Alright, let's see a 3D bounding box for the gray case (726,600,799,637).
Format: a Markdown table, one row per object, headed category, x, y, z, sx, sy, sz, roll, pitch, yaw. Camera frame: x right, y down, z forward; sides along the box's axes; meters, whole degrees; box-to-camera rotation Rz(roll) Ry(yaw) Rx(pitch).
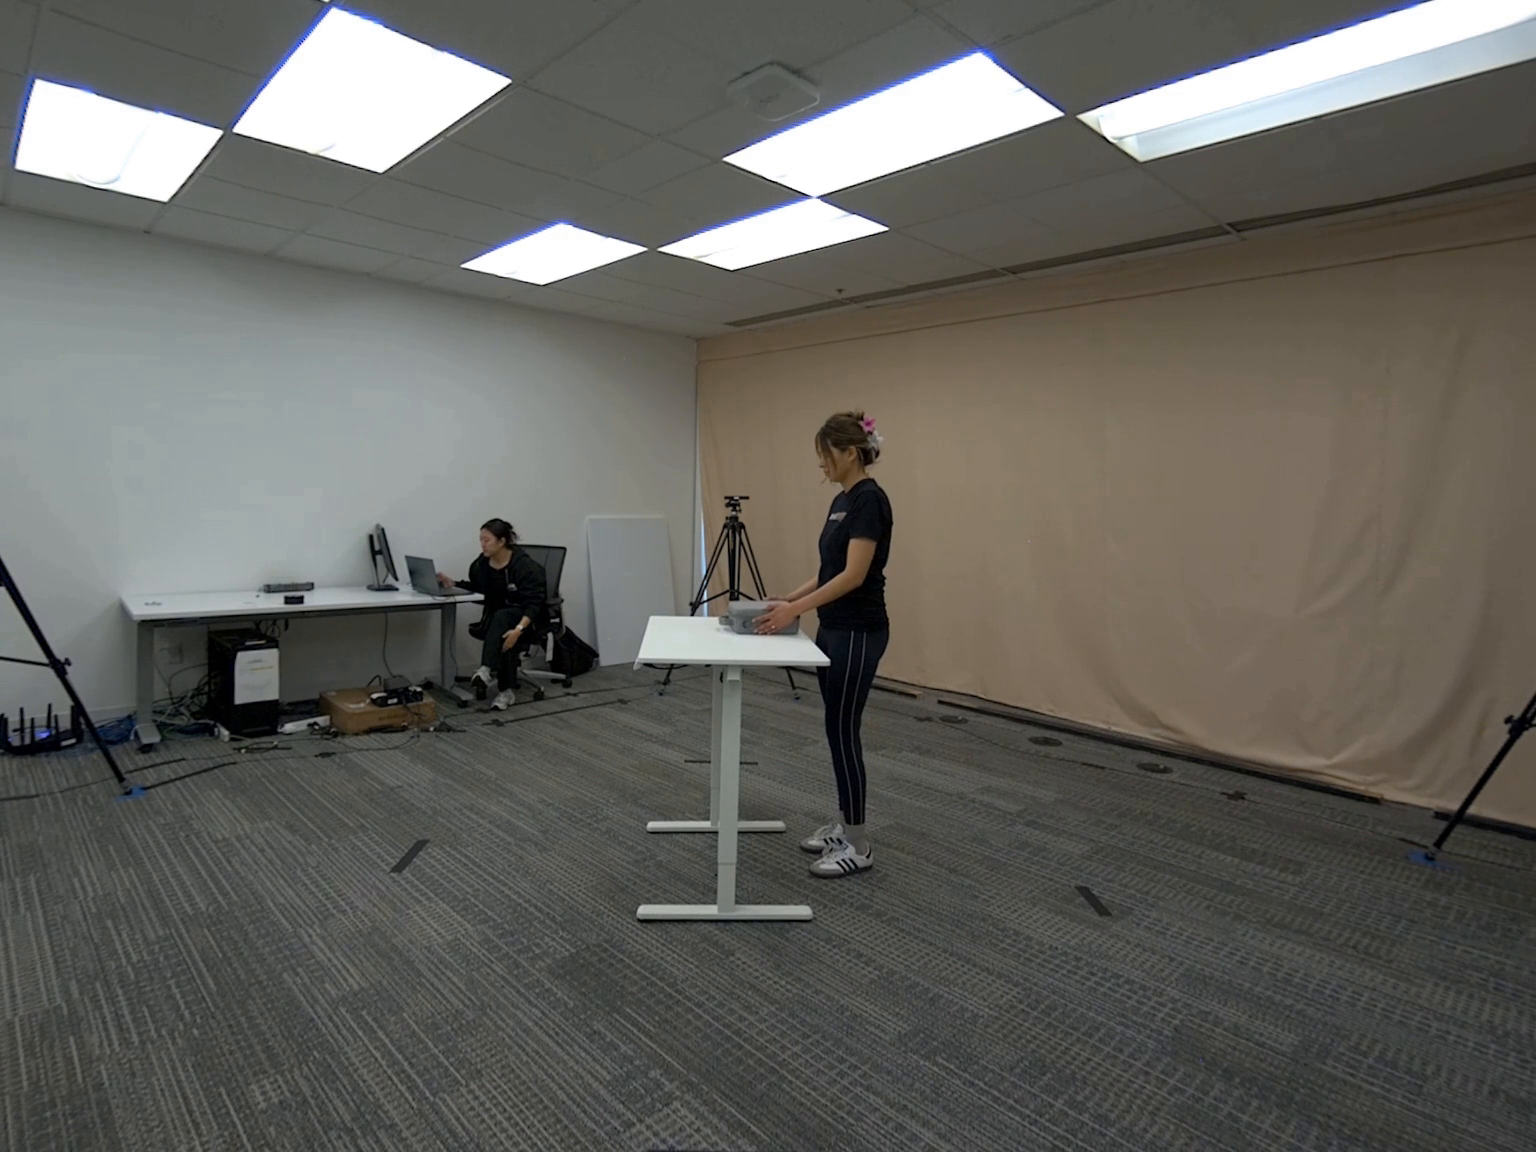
| category | x | y | z | sx | sy | sz | roll | pitch | yaw |
| --- | --- | --- | --- | --- | --- | --- | --- | --- | --- |
| gray case | -0.028 | 0.160 | 3.270 | 0.259 | 0.104 | 0.259 | 0 | 5 | -9 |
